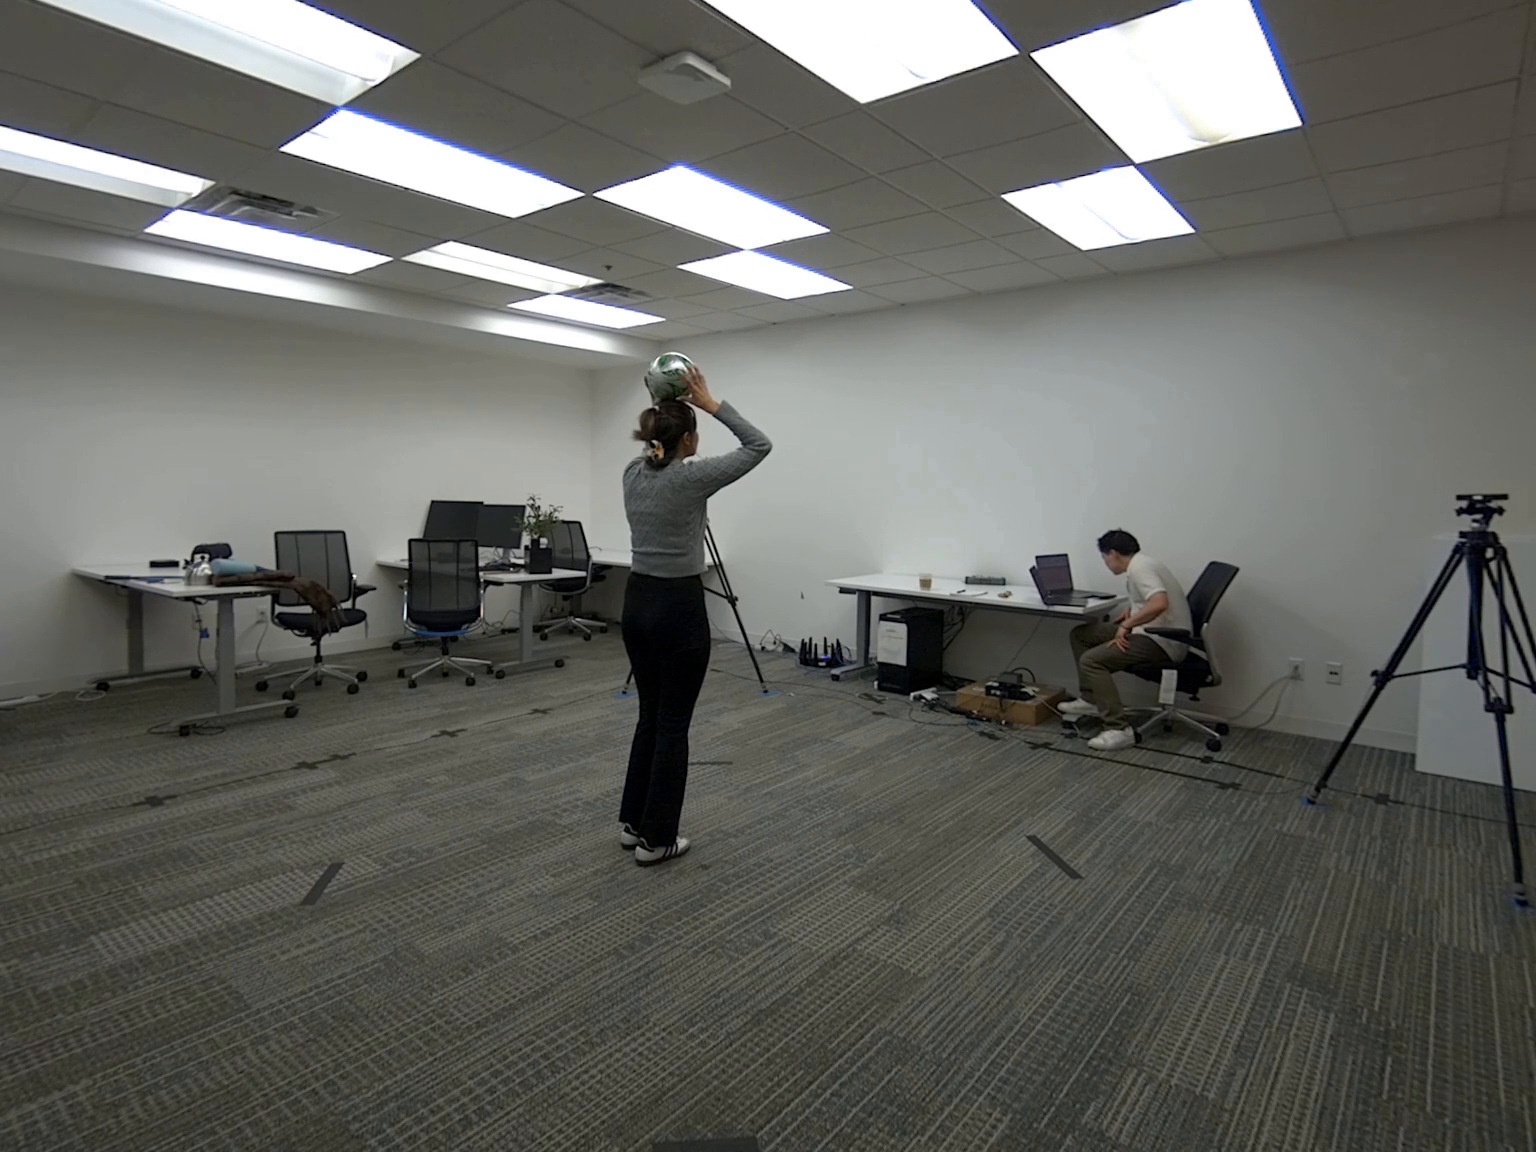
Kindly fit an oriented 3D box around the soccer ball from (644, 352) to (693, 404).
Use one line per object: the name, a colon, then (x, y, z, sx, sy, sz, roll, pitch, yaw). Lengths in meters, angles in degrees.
soccer ball: (-0.373, -0.750, 3.207, 0.187, 0.187, 0.188, 1, 4, -2)
